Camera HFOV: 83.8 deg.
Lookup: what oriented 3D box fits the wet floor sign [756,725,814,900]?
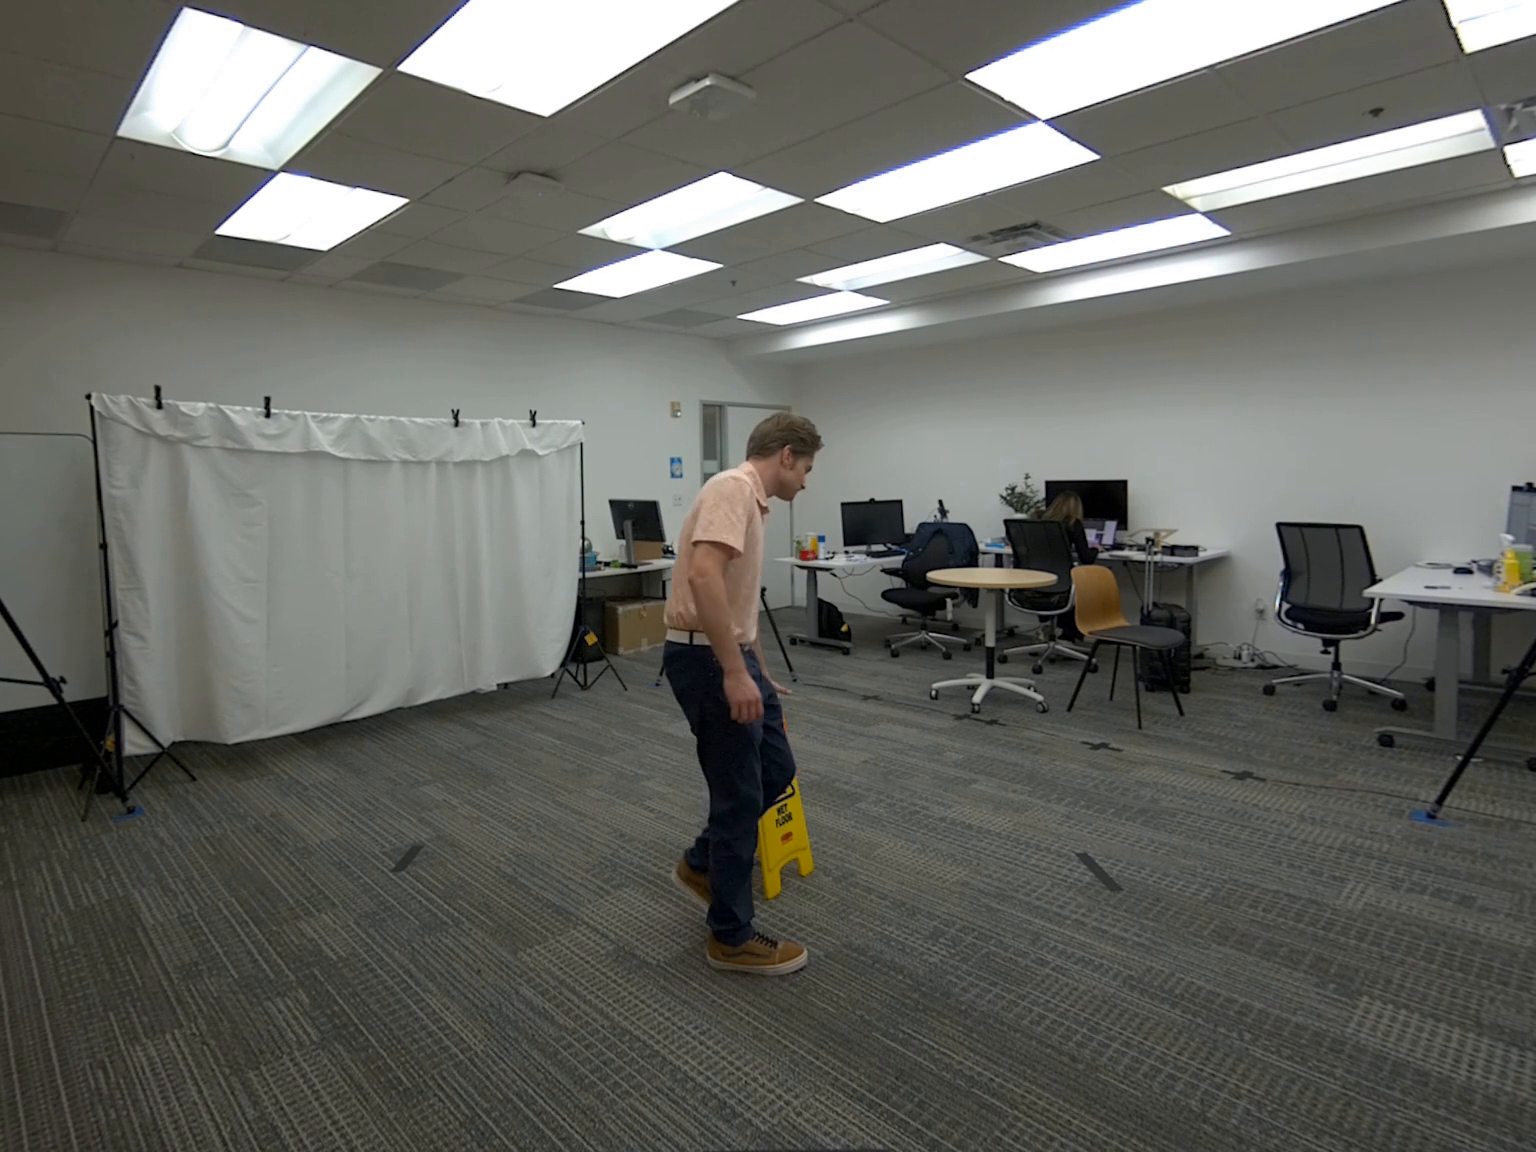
[{"bbox_3d":[-0.019,0.734,3.004,0.298,0.644,0.275,2,4,37],"label":"wet floor sign"}]
